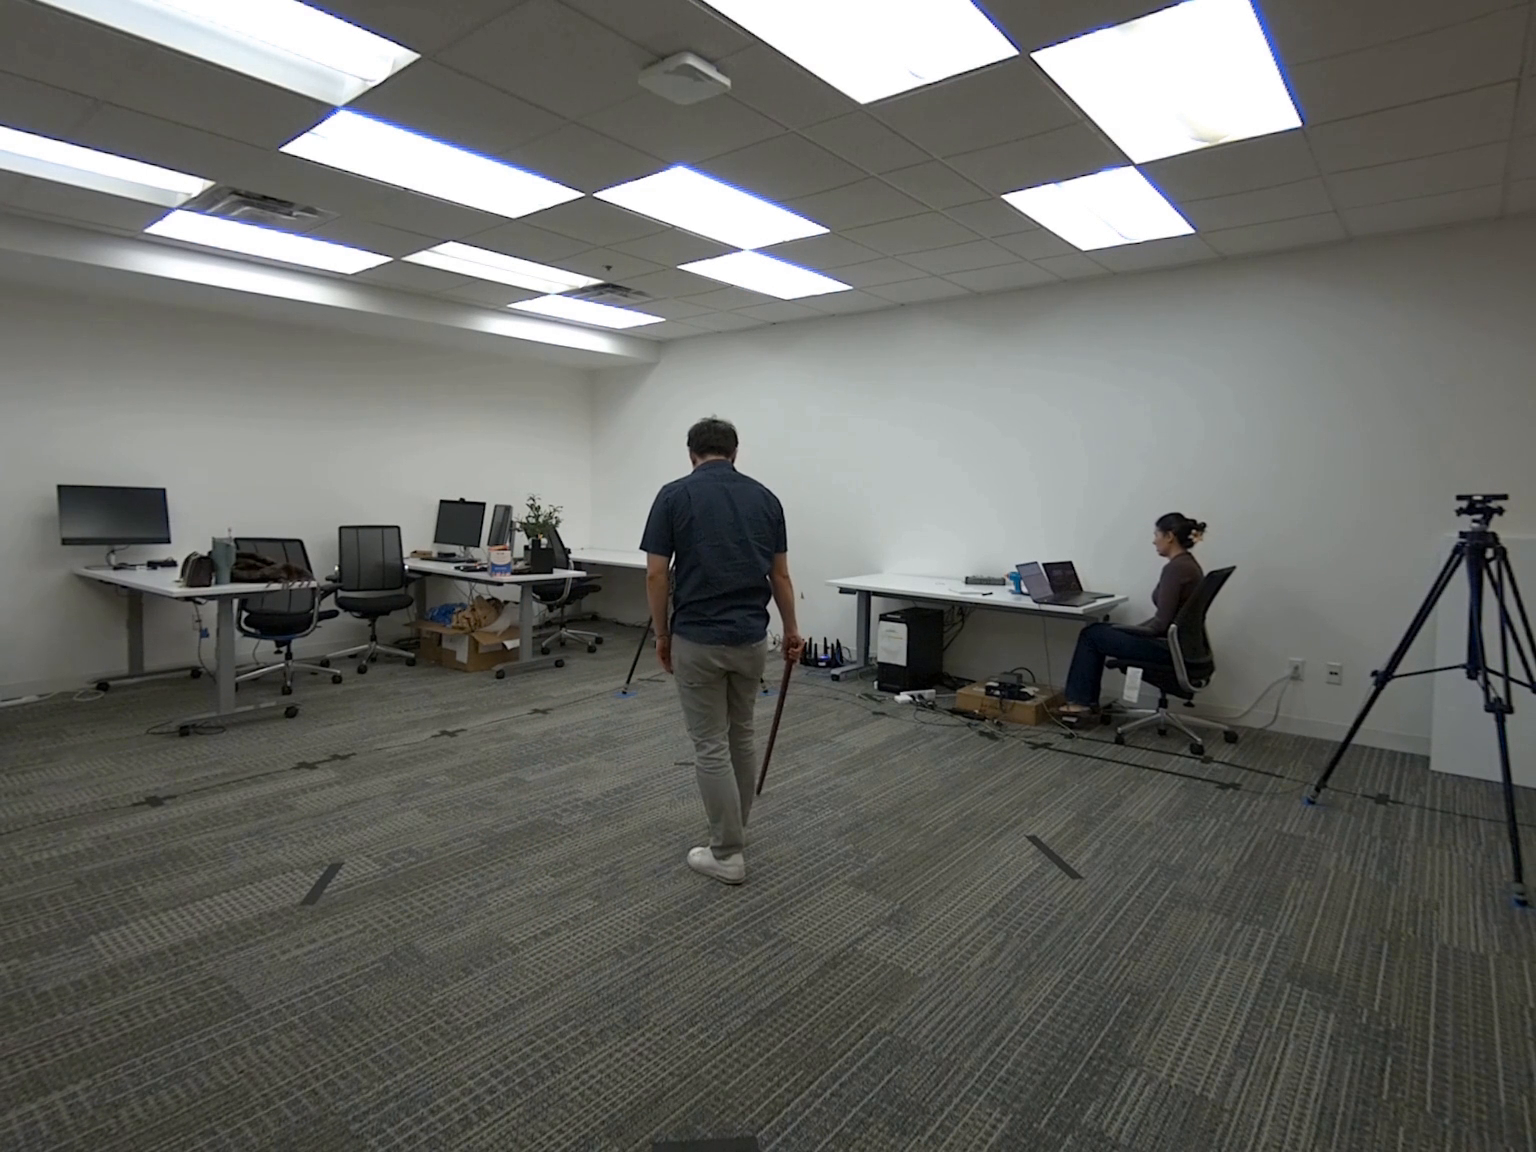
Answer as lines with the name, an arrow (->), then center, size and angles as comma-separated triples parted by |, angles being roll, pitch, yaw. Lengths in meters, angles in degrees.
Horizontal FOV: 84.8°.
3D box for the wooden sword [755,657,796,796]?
wooden sword -> 0.018, 0.623, 3.553 | 0.023, 1.002, 0.053 | -7, 45, -22
